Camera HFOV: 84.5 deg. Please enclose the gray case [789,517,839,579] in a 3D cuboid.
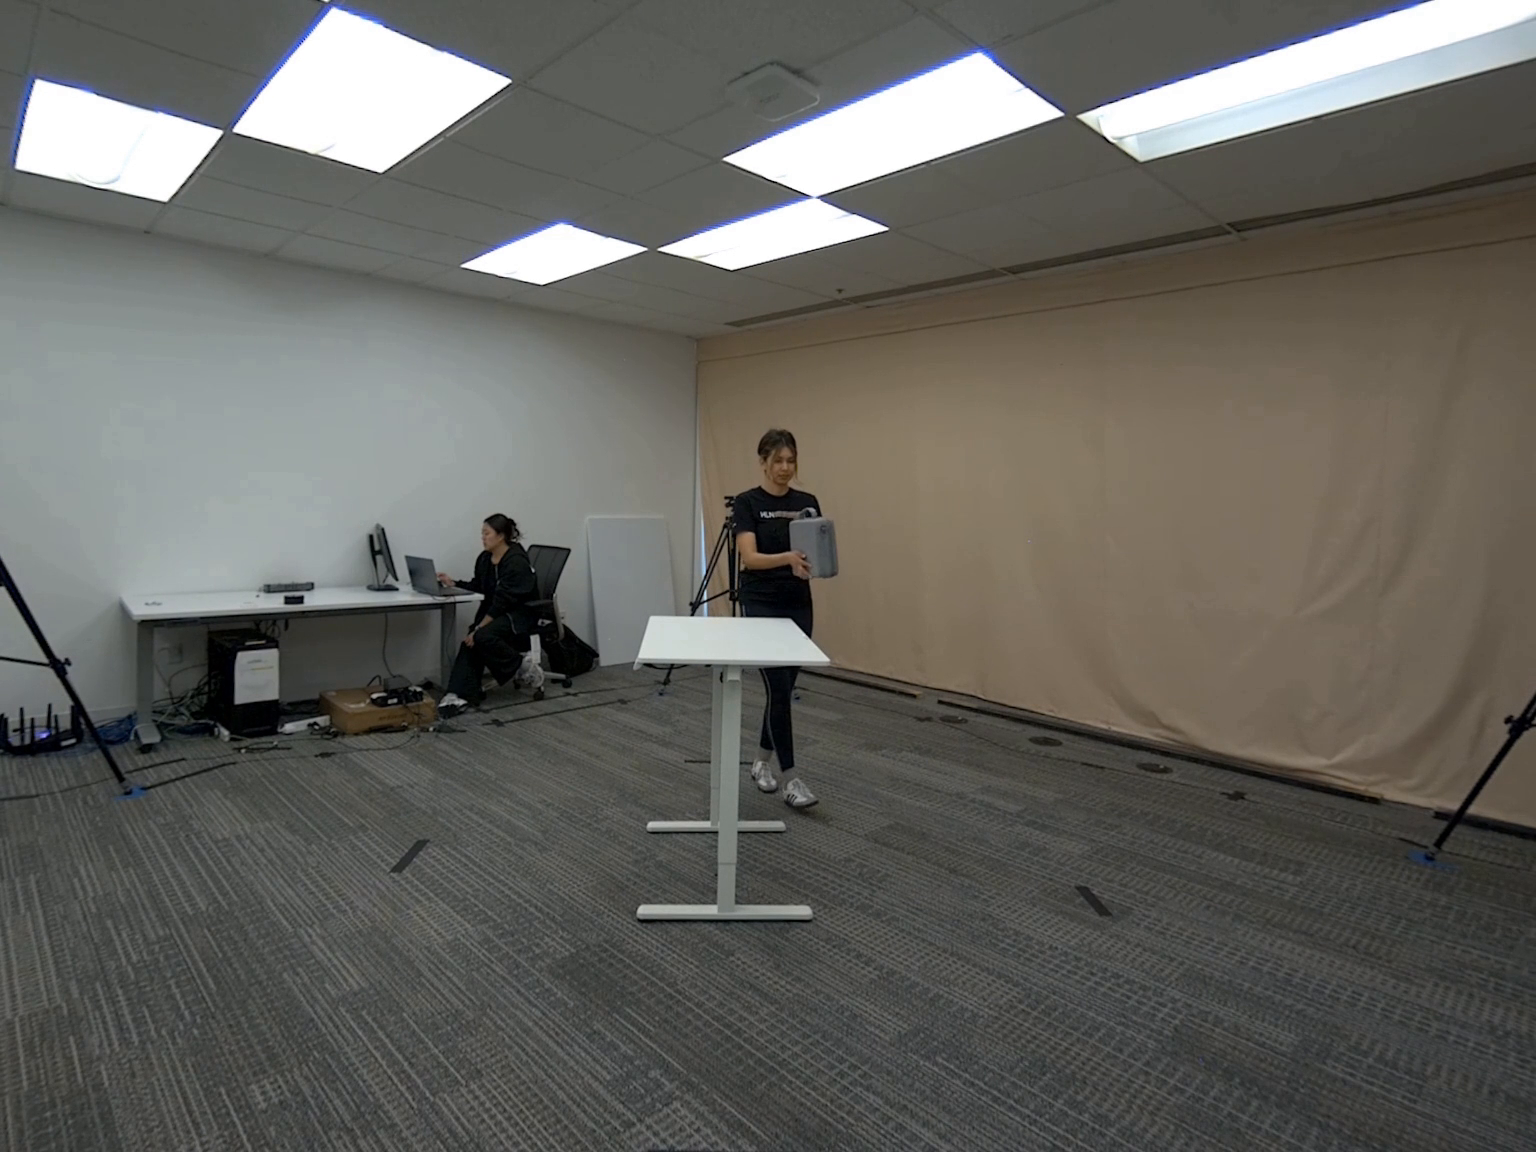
[{"bbox_3d":[0.184,-0.126,3.598,0.103,0.260,0.261,-6,2,-23],"label":"gray case"}]
